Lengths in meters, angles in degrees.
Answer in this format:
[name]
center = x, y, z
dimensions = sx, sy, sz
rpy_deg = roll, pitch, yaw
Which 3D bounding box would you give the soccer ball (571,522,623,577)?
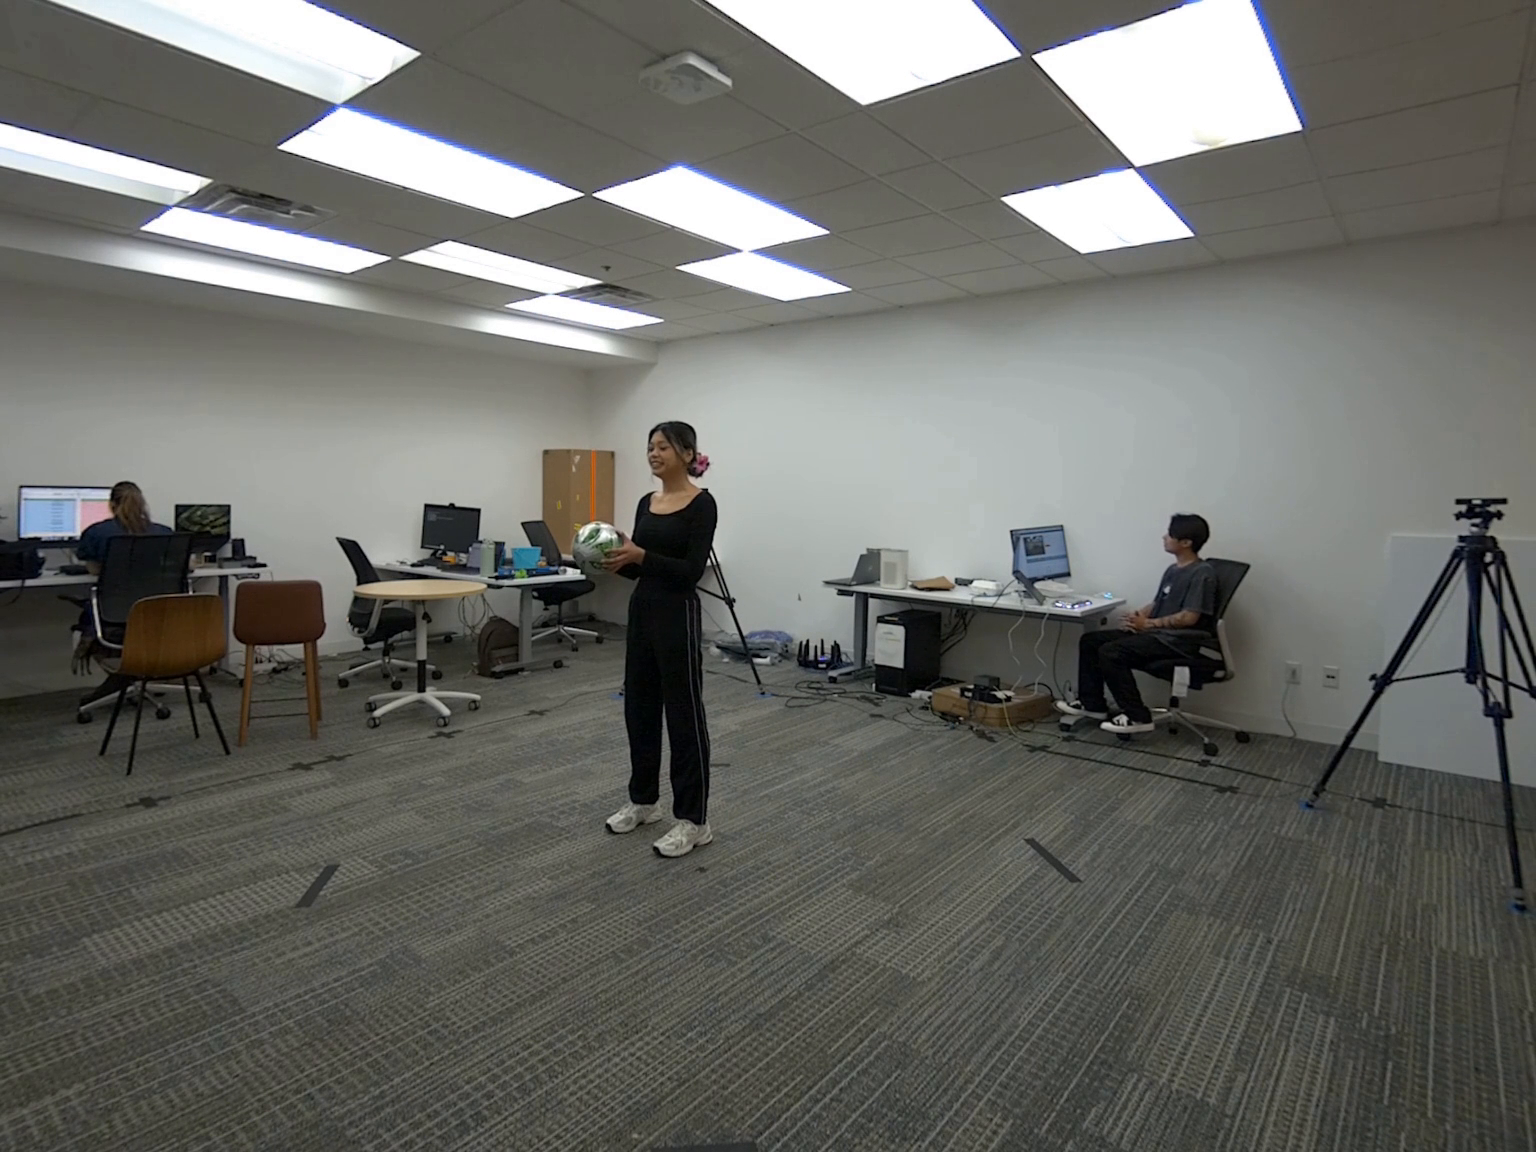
[soccer ball]
center = -0.627, -0.098, 3.062
dimensions = 0.187, 0.187, 0.188
rpy_deg = 1, 4, -2
